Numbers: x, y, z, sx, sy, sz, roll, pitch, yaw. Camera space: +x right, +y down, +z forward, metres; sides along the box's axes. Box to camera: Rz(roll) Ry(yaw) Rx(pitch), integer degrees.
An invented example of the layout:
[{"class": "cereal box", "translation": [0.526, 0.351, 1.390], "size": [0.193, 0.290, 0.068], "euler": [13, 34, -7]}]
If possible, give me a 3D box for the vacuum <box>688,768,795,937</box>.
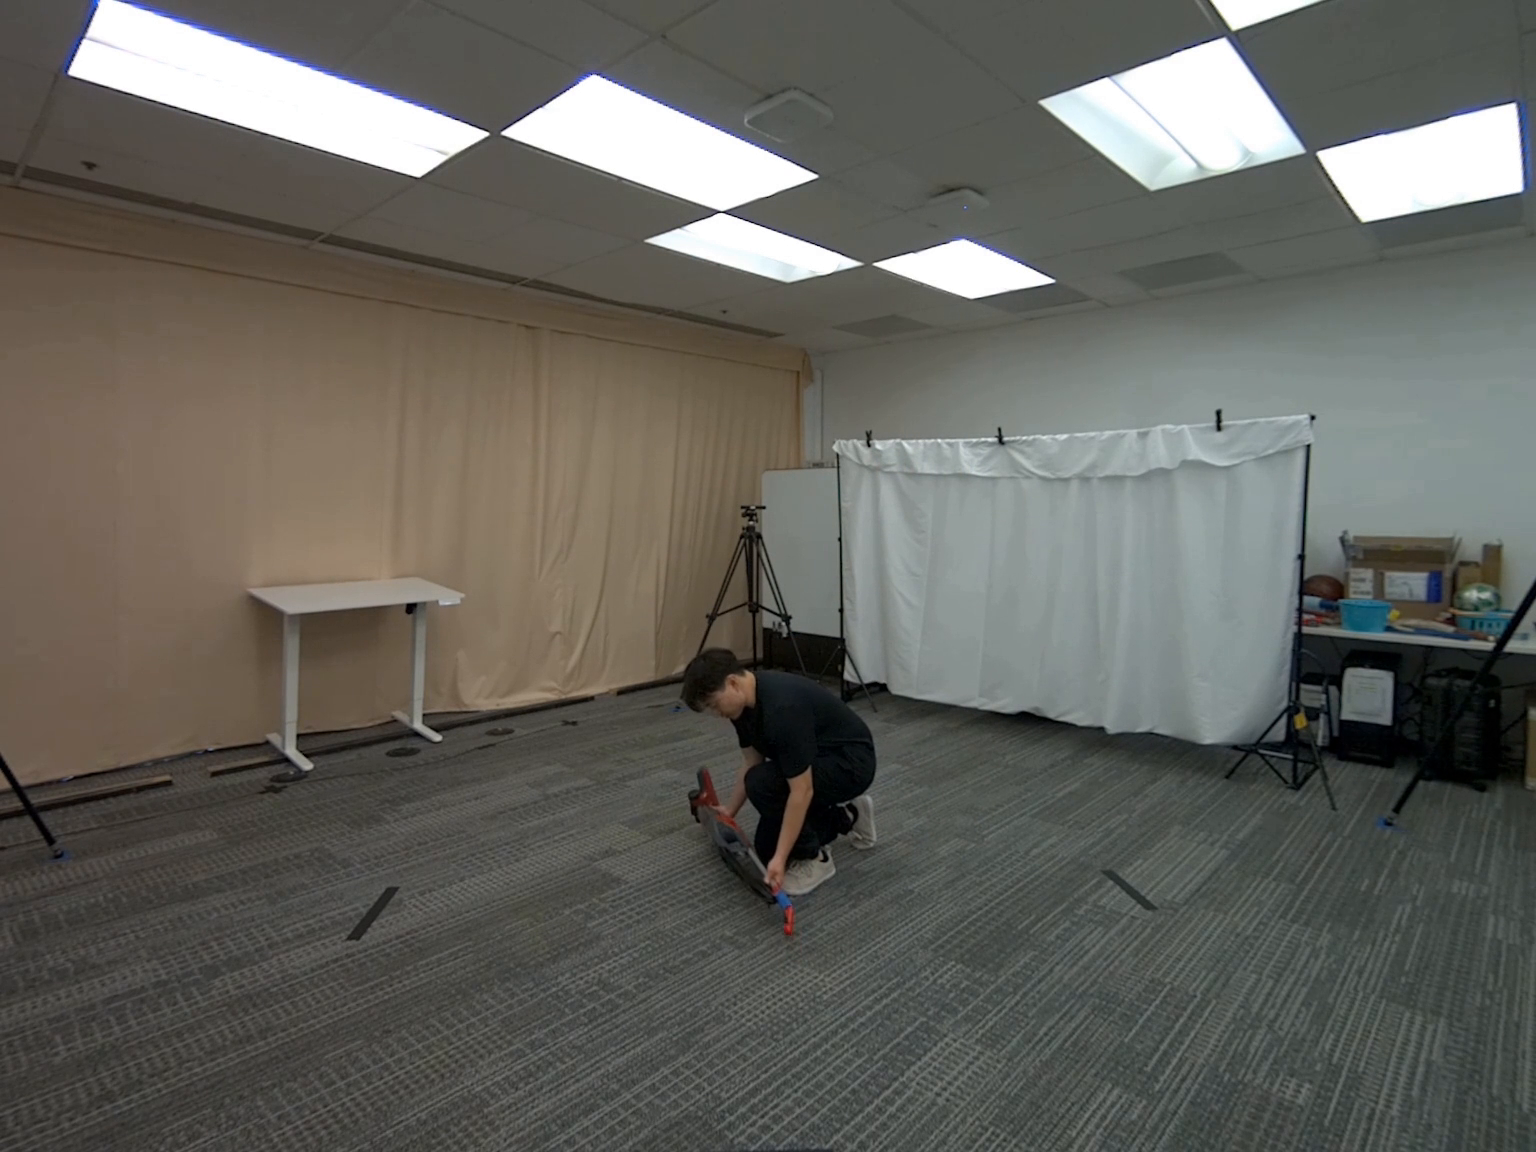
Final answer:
[{"class": "vacuum", "translation": [-0.093, 1.016, 3.097], "size": [0.142, 0.250, 1.071], "euler": [-22, 13, -14]}]
